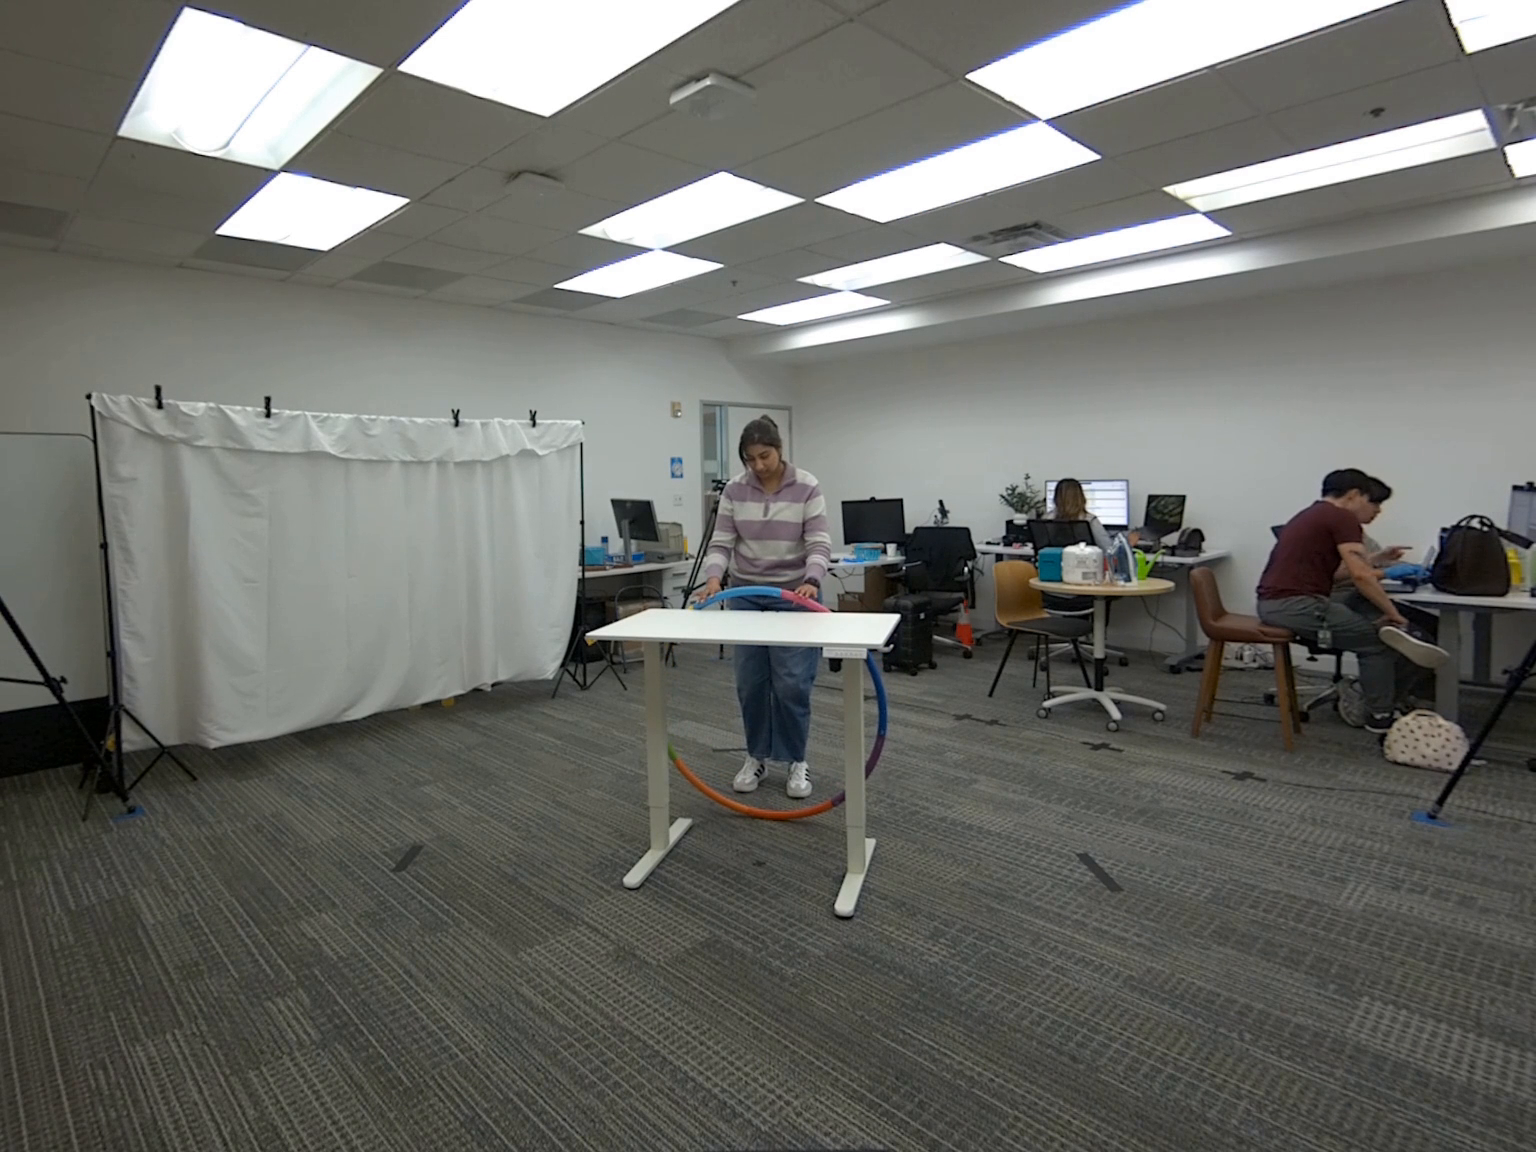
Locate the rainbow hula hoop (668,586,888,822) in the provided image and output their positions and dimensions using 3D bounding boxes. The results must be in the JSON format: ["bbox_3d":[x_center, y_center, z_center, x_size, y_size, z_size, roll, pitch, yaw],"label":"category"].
[{"bbox_3d":[-0.008,0.532,3.440,0.994,0.967,0.035,1,12,17],"label":"rainbow hula hoop"}]
